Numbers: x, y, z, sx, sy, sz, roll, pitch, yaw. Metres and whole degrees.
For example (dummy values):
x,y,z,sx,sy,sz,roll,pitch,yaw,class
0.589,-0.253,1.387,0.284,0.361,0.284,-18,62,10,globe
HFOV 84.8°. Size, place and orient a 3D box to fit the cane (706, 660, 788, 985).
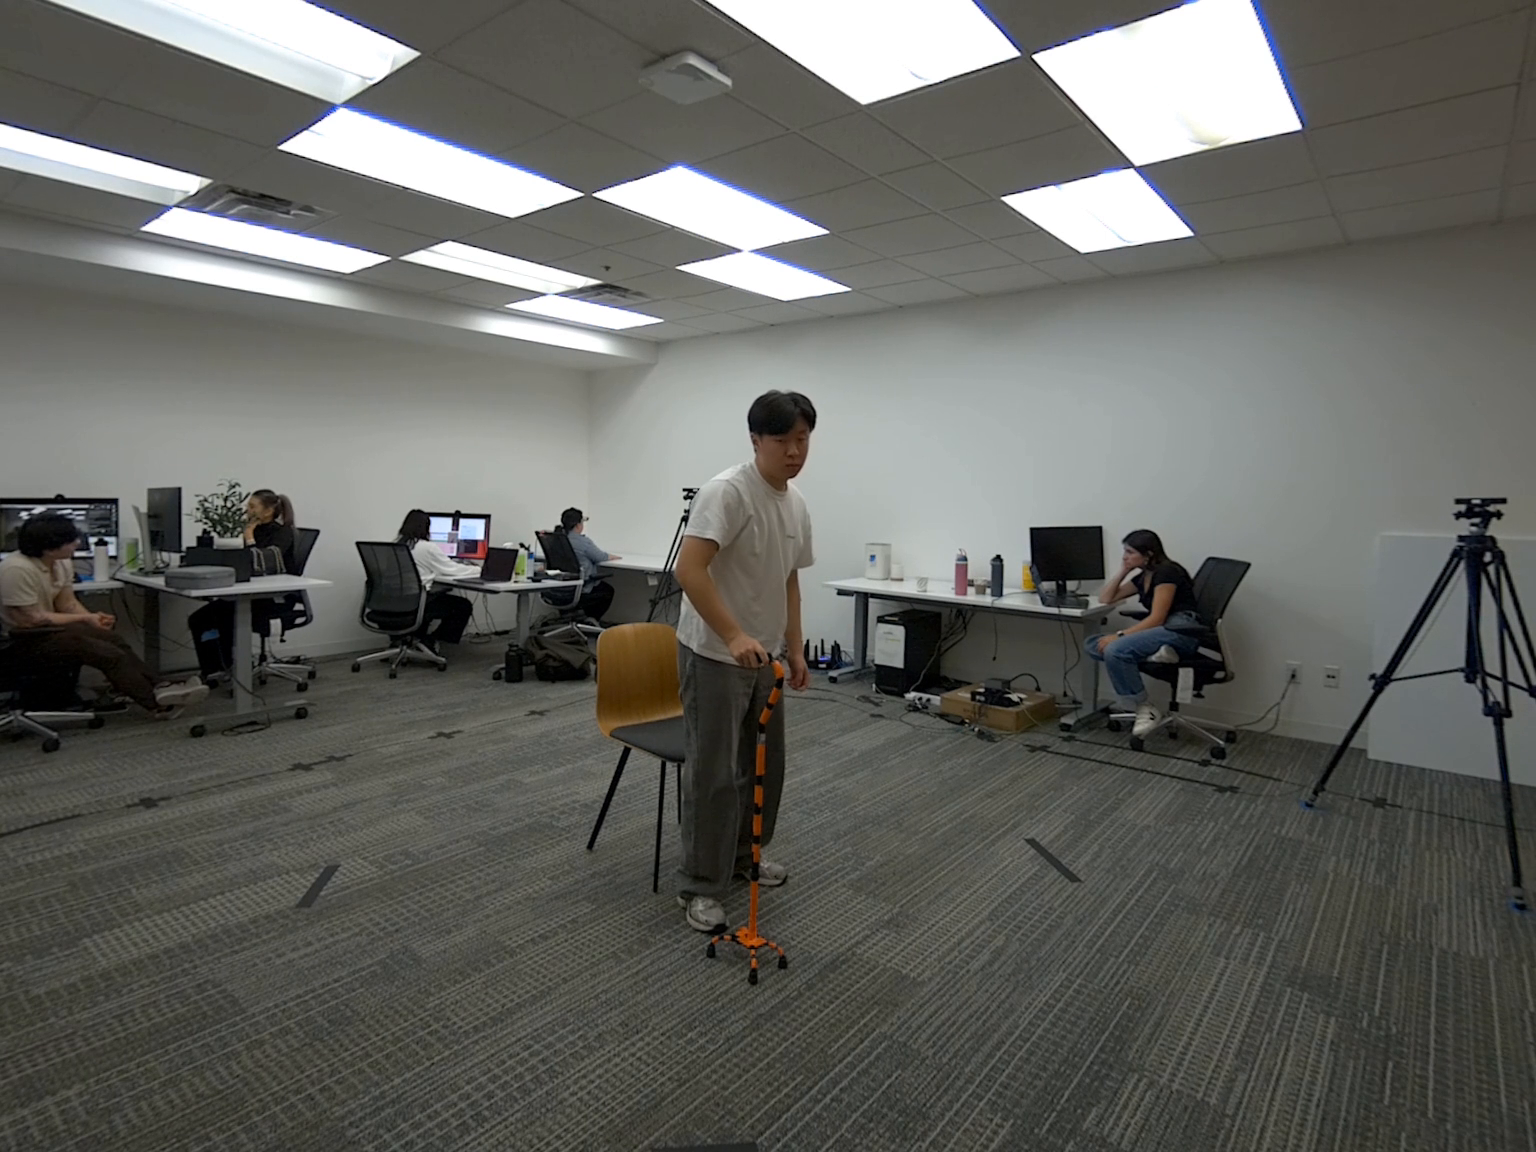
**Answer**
x,y,z,sx,sy,sz,roll,pitch,yaw,class
-0.042,0.671,2.488,0.213,0.905,0.147,5,4,42,cane
